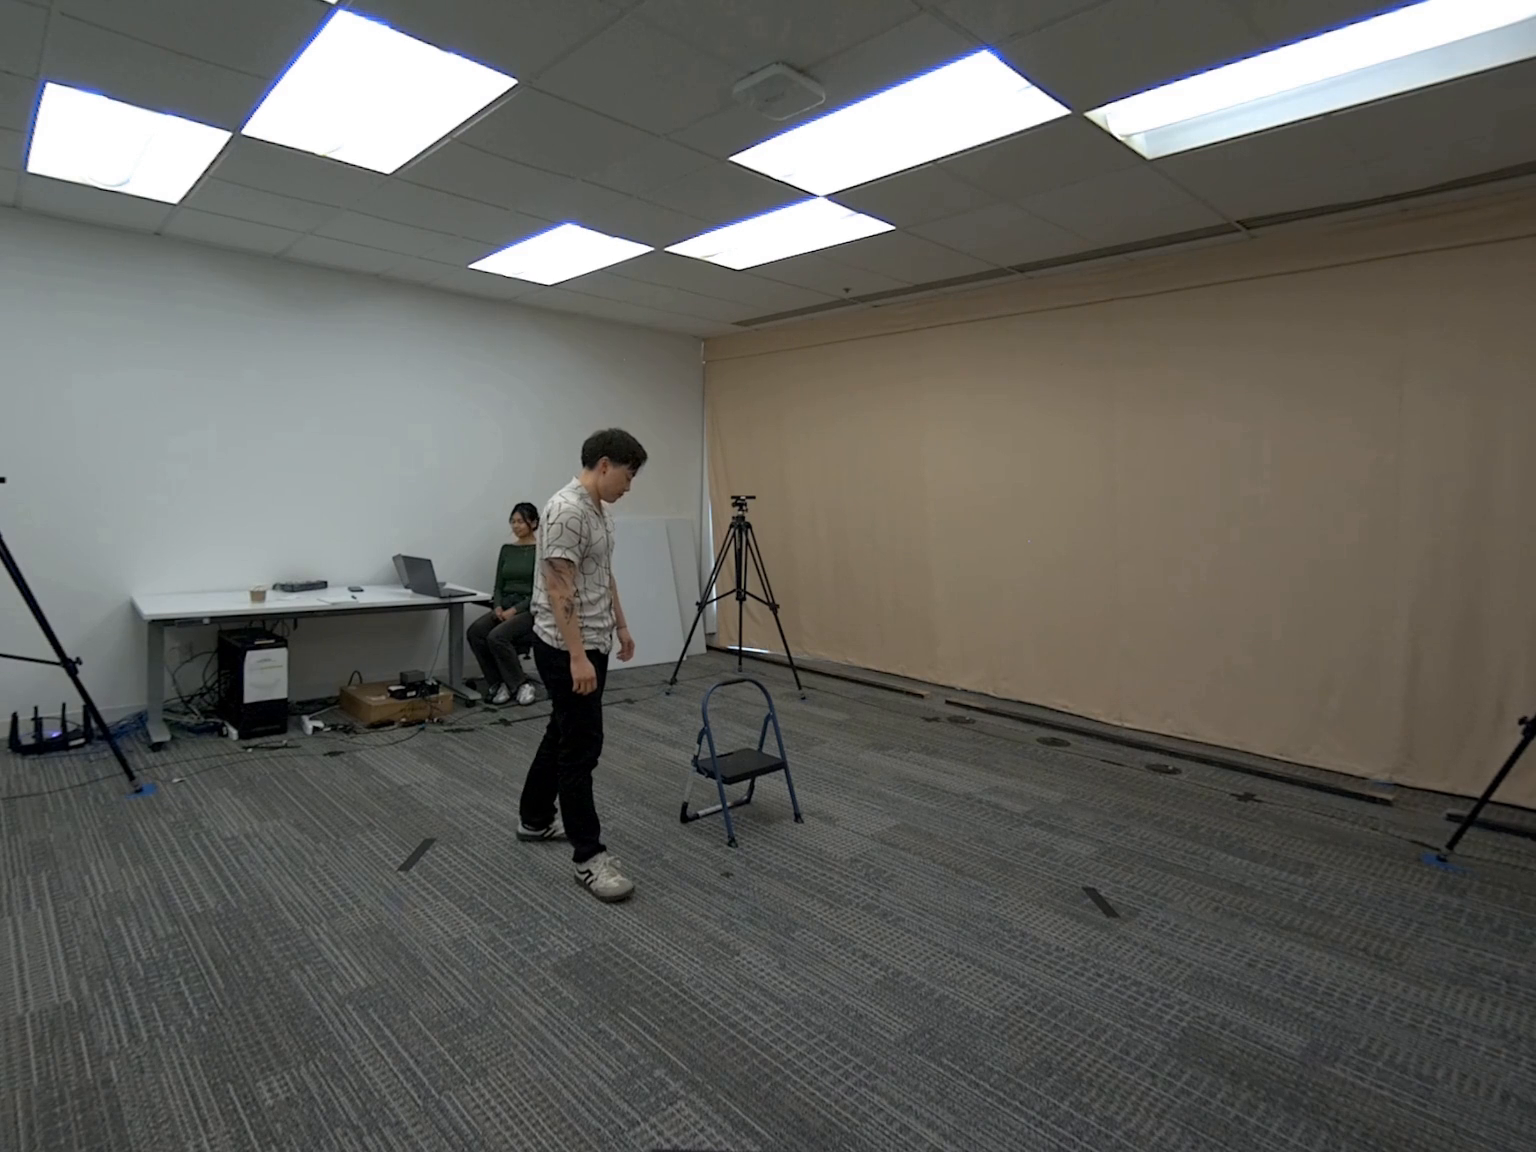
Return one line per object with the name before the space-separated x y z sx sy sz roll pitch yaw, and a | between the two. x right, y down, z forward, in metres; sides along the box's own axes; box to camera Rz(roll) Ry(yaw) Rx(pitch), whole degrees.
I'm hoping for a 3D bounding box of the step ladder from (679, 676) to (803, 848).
step ladder | -0.113 0.754 3.599 0.358 0.605 0.421 5 5 45
